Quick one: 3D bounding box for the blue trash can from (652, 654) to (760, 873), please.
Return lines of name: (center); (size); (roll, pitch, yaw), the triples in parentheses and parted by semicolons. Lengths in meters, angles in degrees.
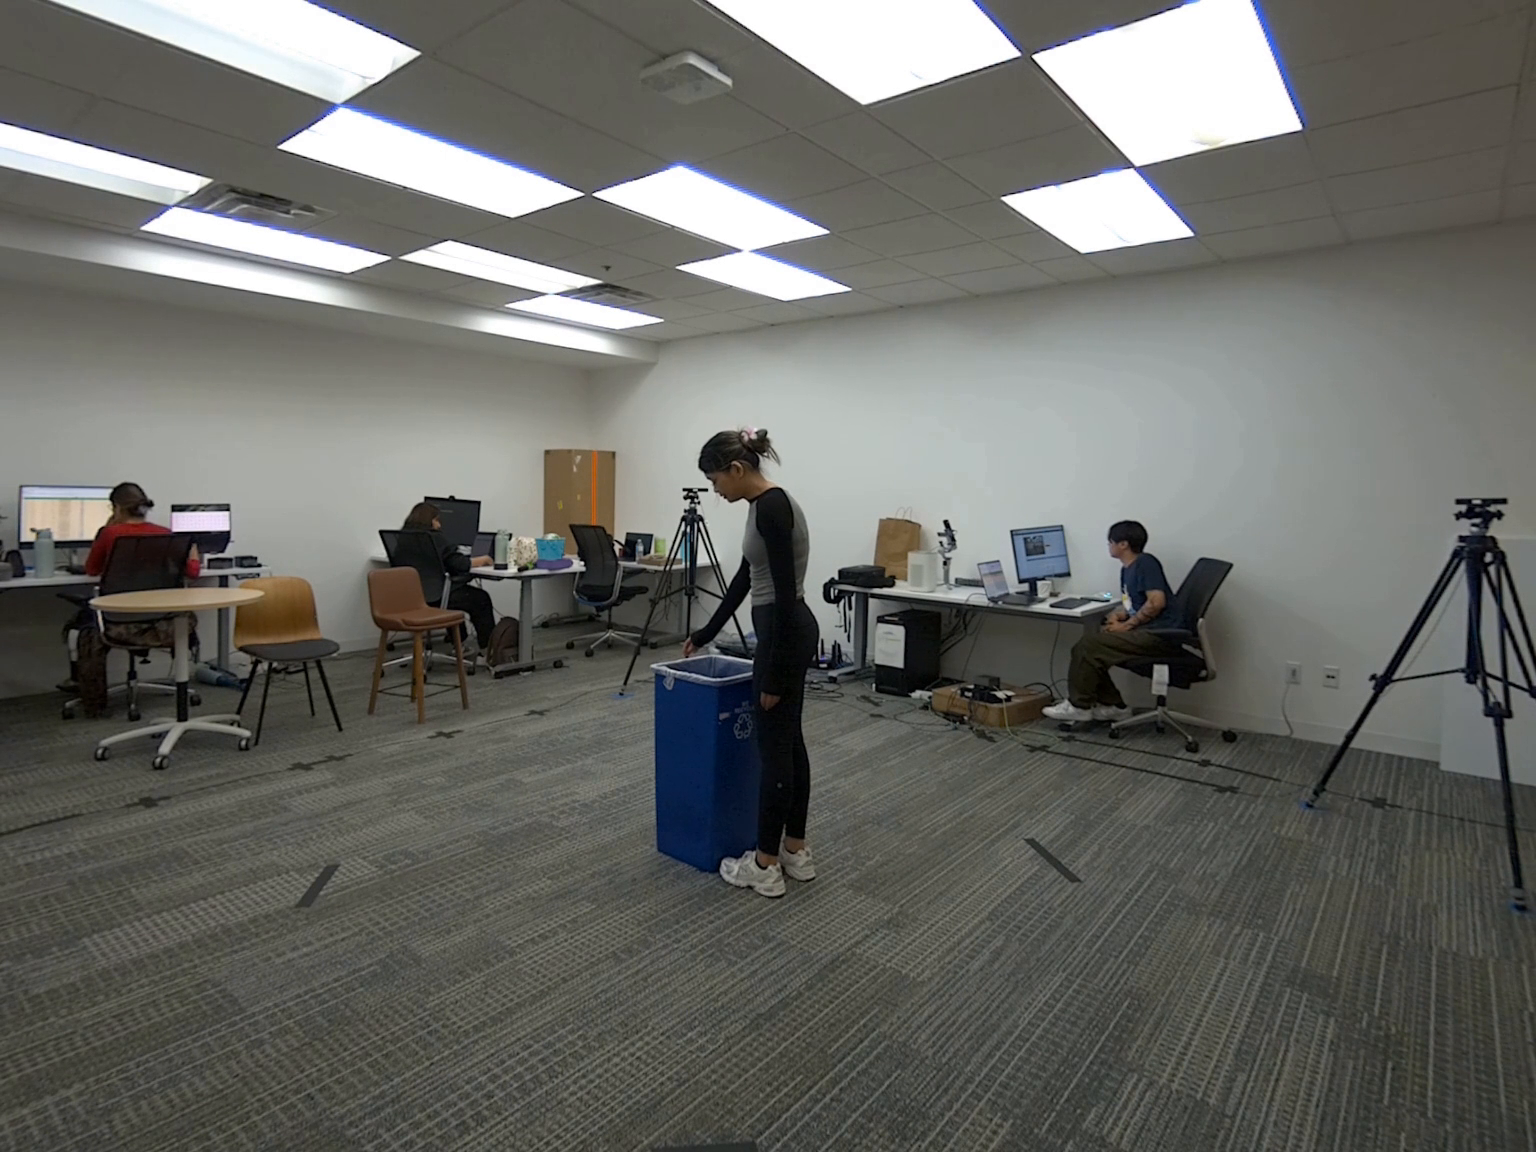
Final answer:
blue trash can: (-0.223, 0.697, 3.269); (0.391, 0.711, 0.363); (4, 4, 40)
